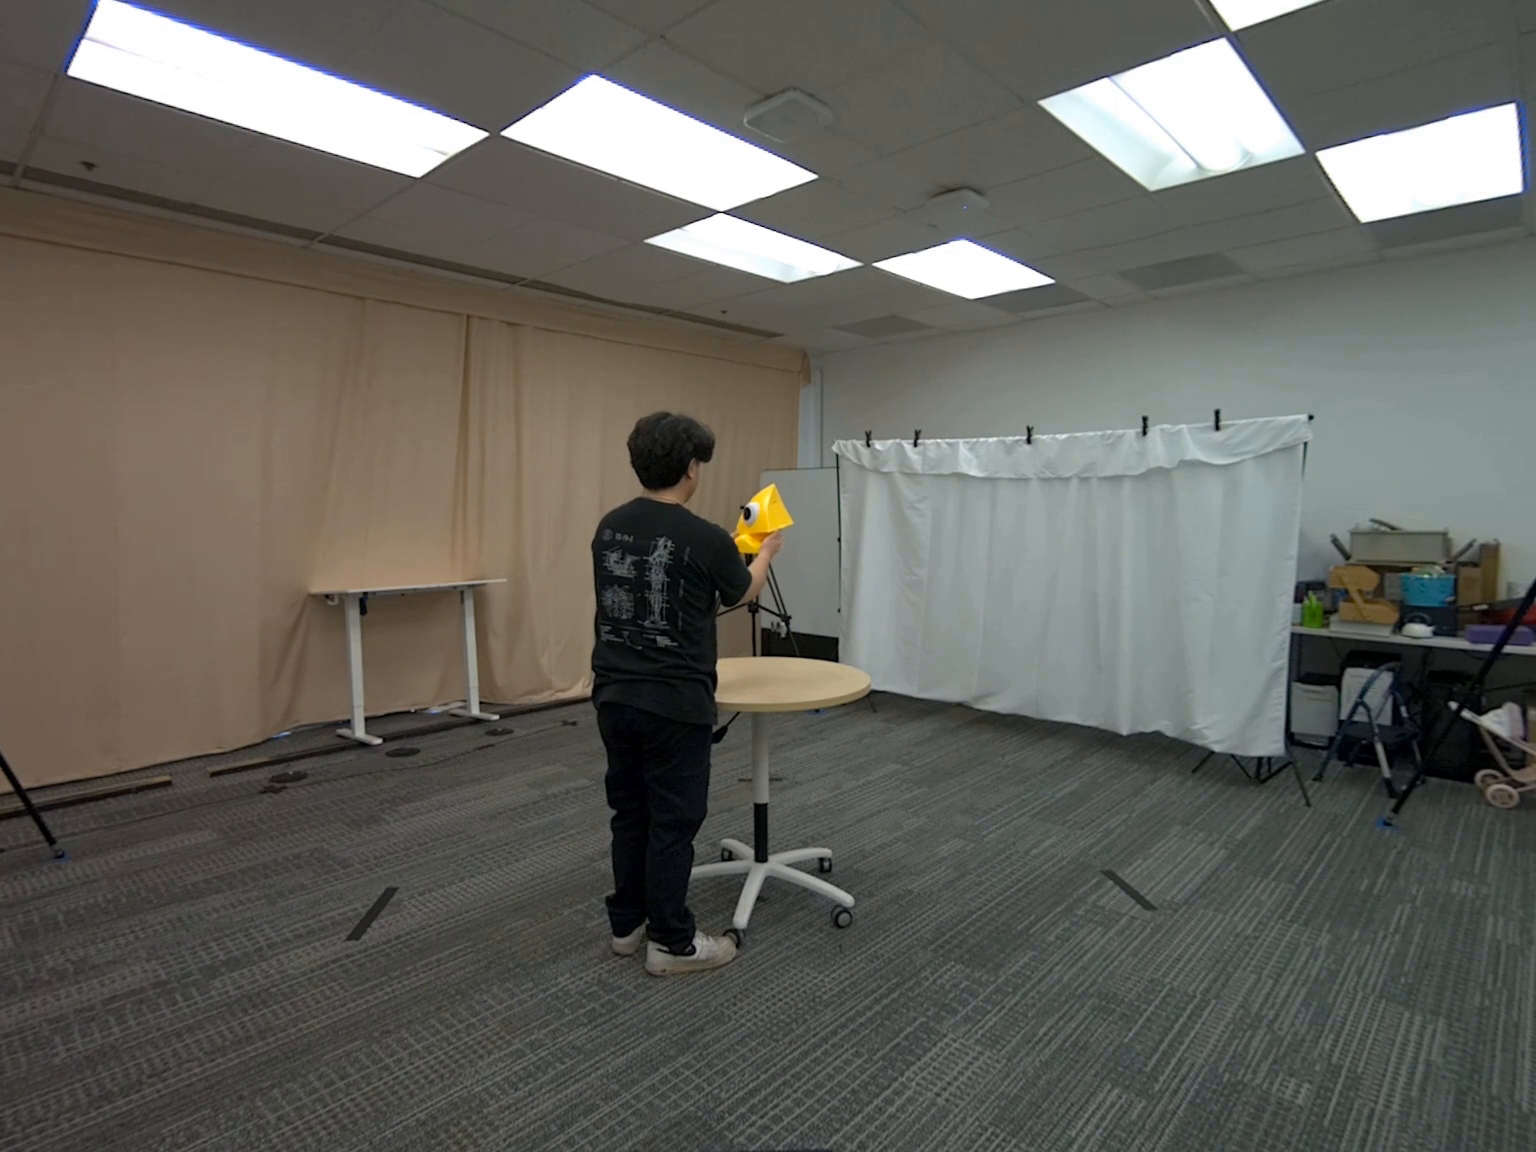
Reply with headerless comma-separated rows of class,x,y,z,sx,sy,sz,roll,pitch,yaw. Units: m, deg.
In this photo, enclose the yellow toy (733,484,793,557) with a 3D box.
yellow toy,-0.033,-0.212,2.975,0.198,0.229,0.200,6,13,27
